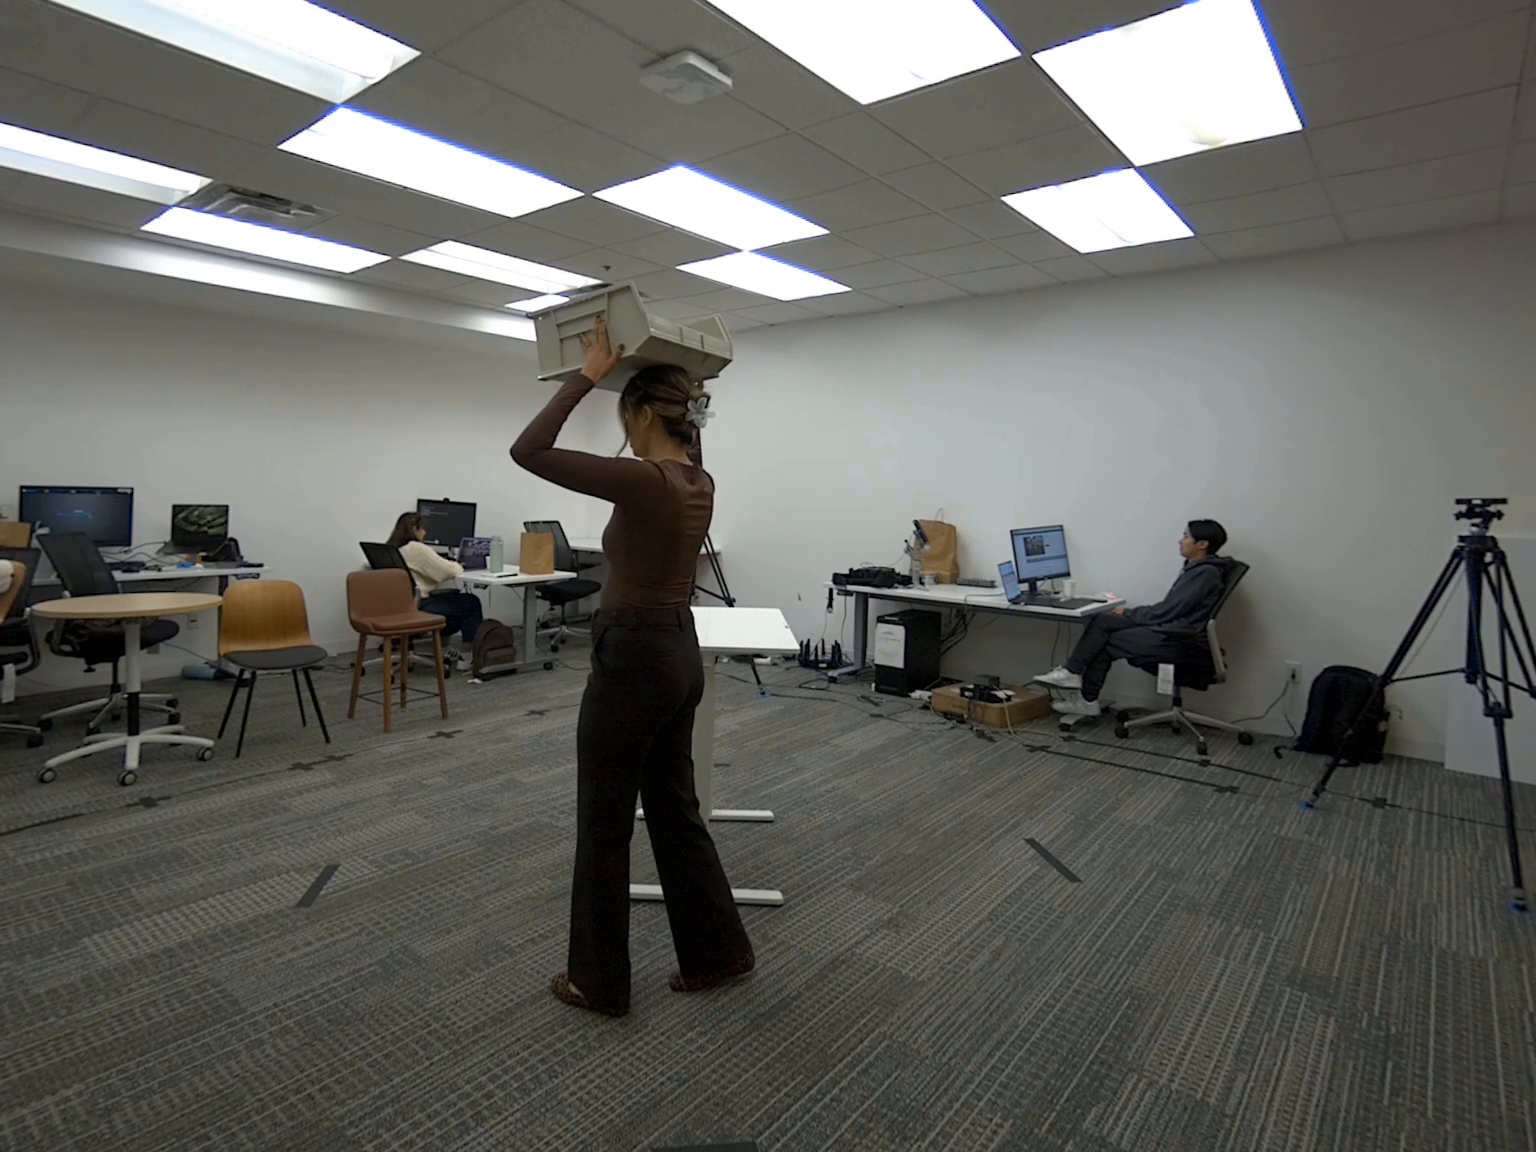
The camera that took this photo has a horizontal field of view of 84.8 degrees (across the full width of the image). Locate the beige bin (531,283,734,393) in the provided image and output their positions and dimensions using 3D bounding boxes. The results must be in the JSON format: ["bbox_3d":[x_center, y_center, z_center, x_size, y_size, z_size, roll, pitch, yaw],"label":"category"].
[{"bbox_3d":[-0.365,-0.625,2.294,0.387,0.189,0.412,-6,1,29],"label":"beige bin"}]
